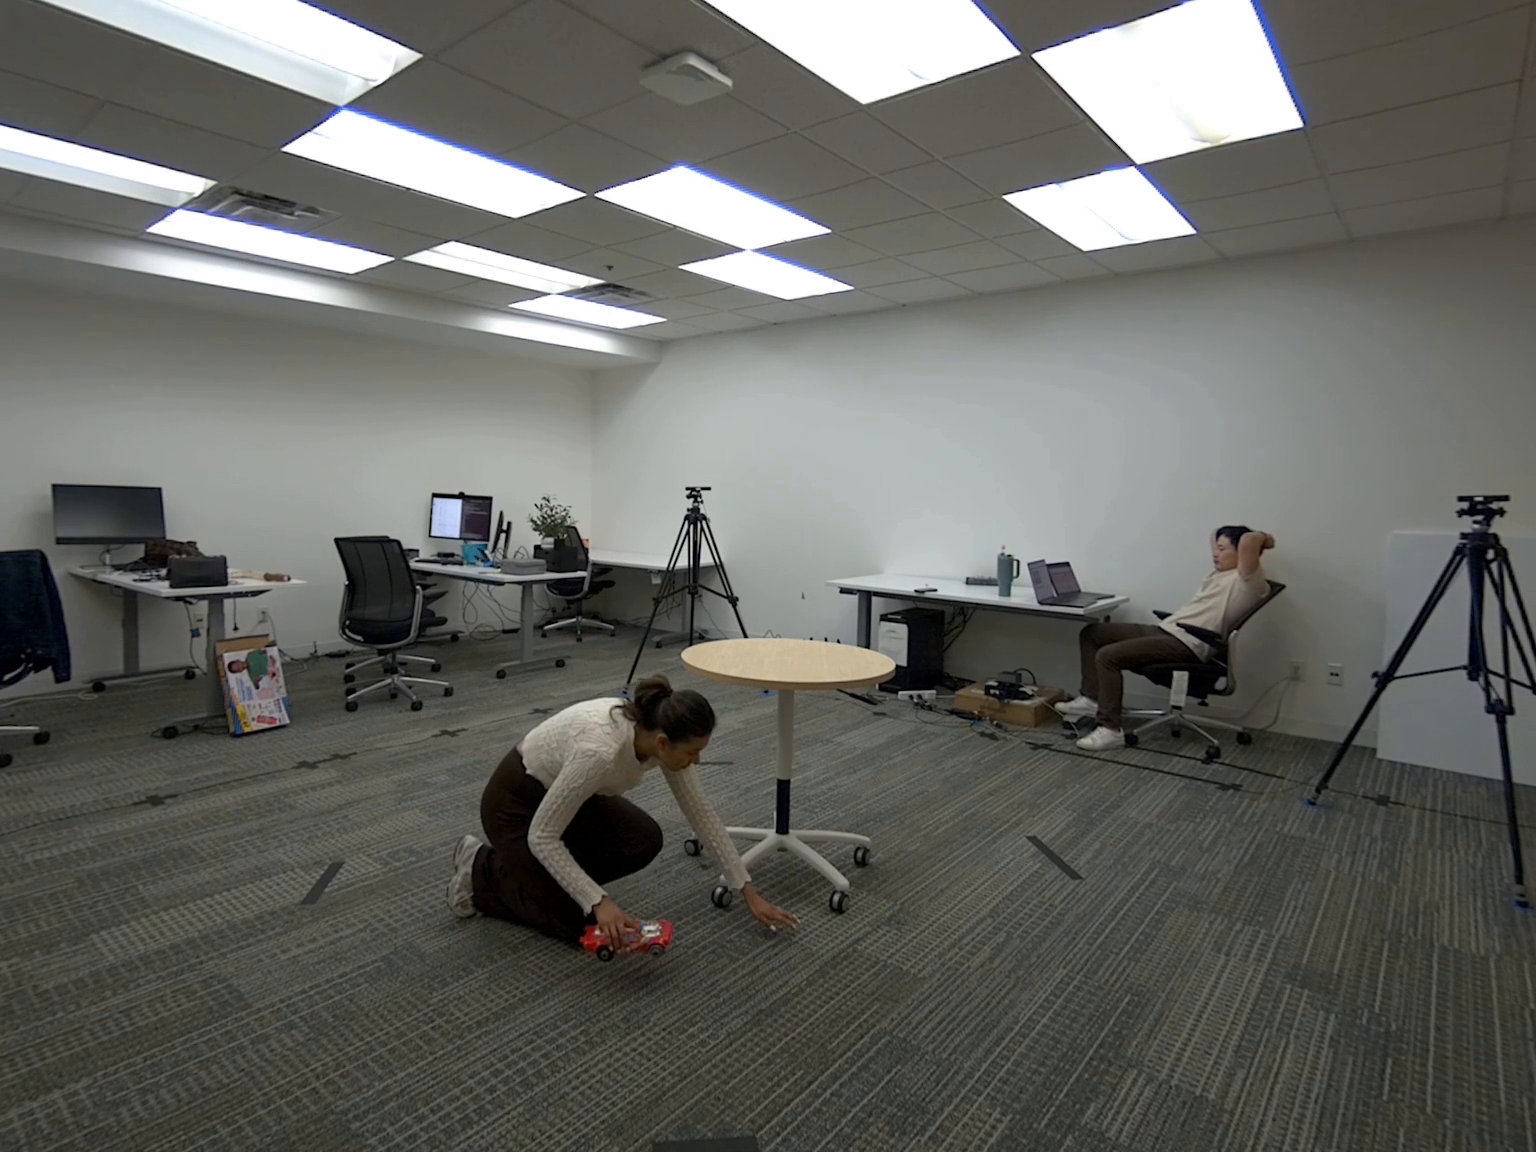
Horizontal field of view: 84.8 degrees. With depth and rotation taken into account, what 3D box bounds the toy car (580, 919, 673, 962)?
[{"bbox_3d":[-0.402,1.013,2.384,0.256,0.082,0.131,2,11,4],"label":"toy car"}]
